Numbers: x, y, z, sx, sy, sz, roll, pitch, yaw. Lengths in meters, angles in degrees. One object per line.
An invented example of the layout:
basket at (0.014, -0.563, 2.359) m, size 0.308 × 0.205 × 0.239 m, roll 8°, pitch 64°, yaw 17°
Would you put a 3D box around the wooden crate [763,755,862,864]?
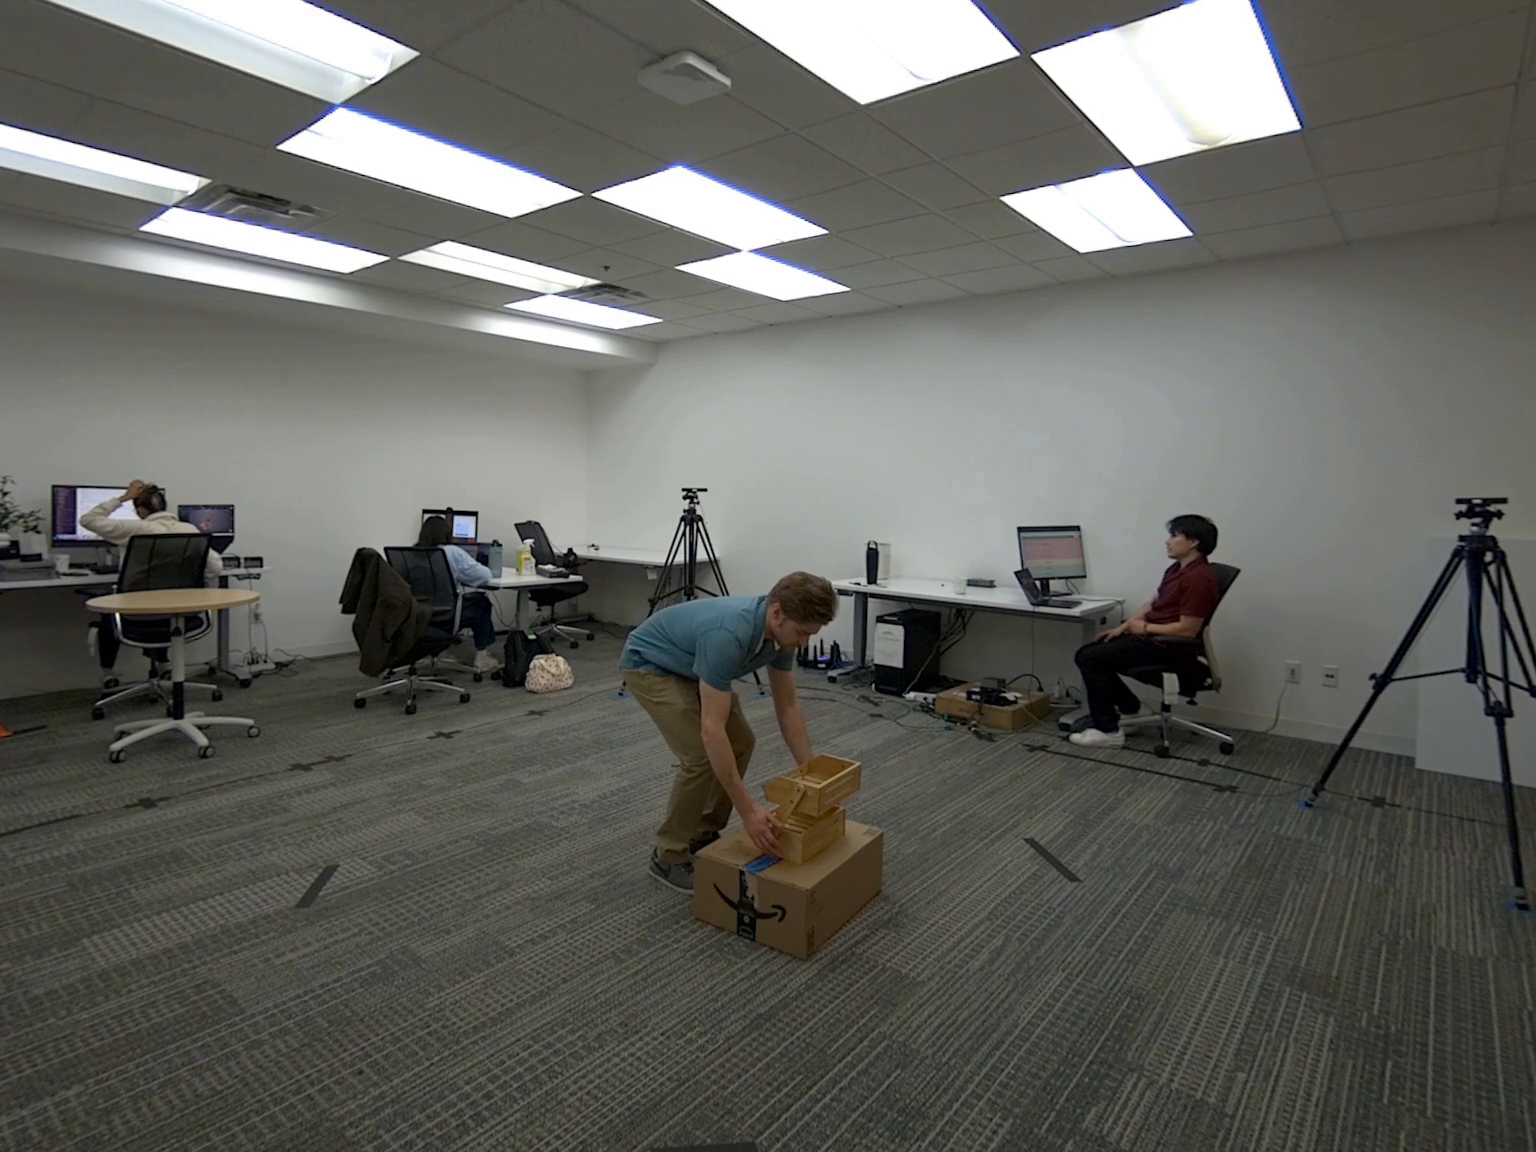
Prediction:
wooden crate at (0.101, 0.755, 2.860) m, size 0.312 × 0.272 × 0.316 m, roll 6°, pitch 7°, yaw 33°
